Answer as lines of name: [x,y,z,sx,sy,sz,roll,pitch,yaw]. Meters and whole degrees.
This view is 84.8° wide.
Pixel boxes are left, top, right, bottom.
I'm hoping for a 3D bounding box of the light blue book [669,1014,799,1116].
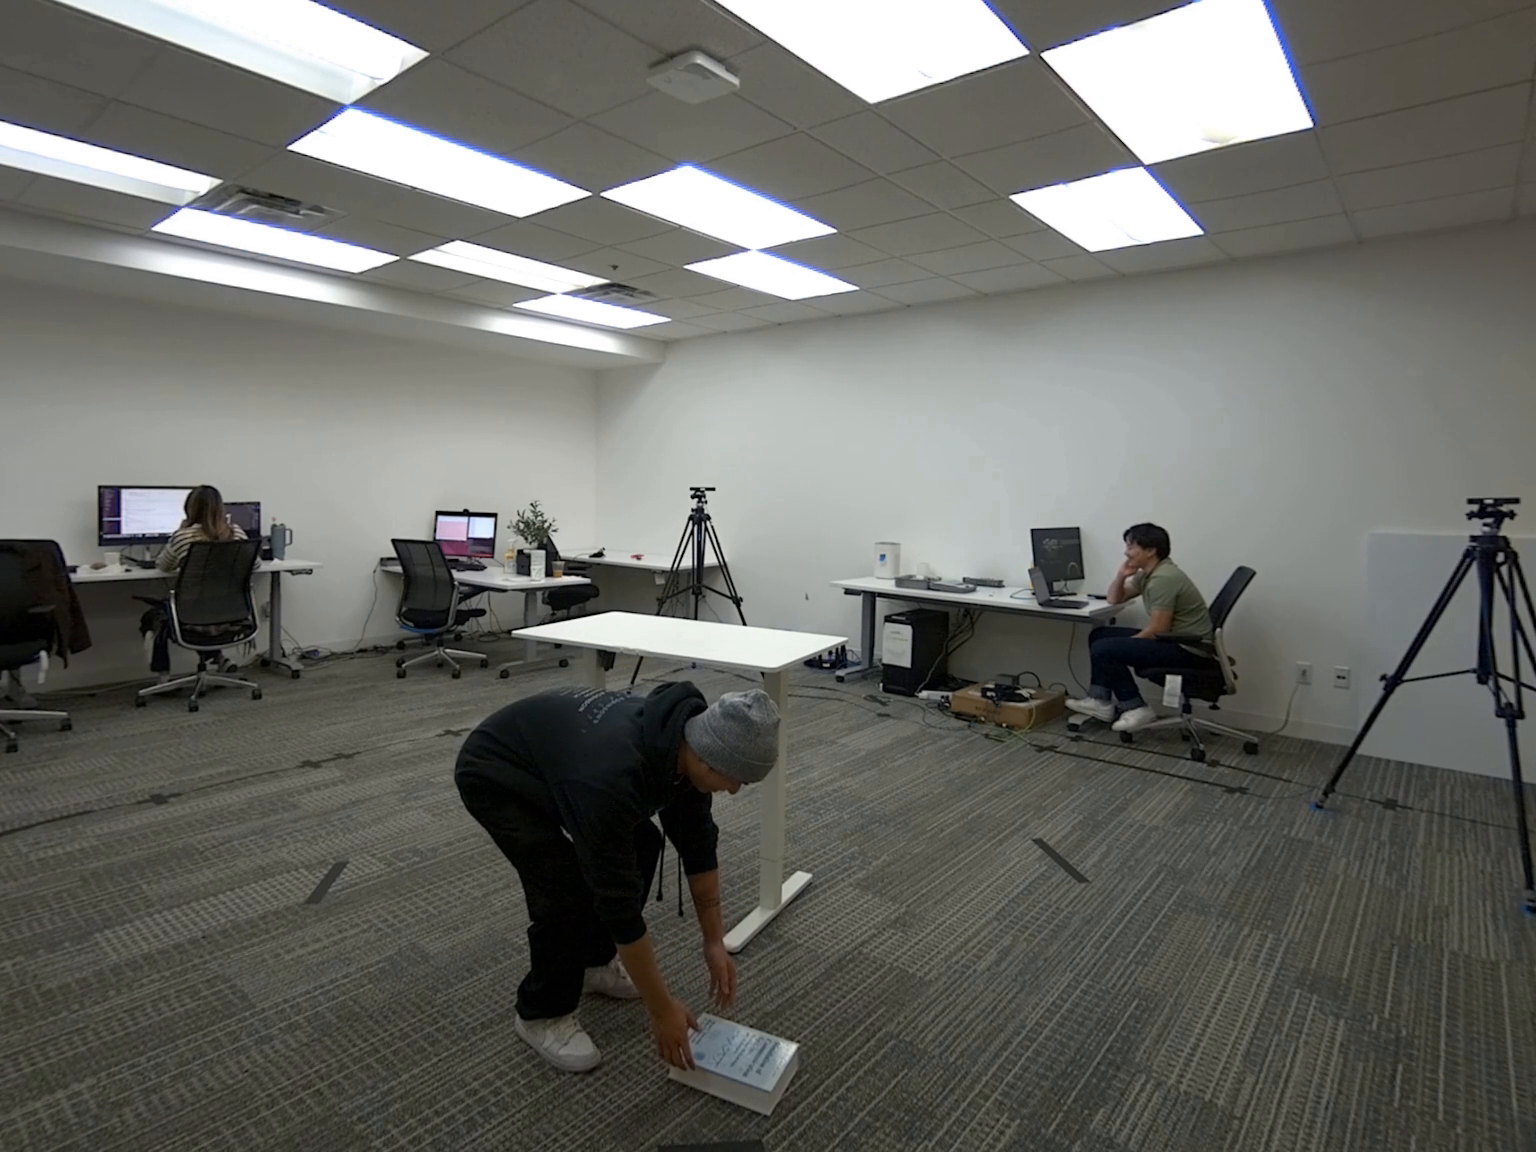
light blue book: [-0.084,1.154,2.020,0.268,0.059,0.187,4,7,25]
